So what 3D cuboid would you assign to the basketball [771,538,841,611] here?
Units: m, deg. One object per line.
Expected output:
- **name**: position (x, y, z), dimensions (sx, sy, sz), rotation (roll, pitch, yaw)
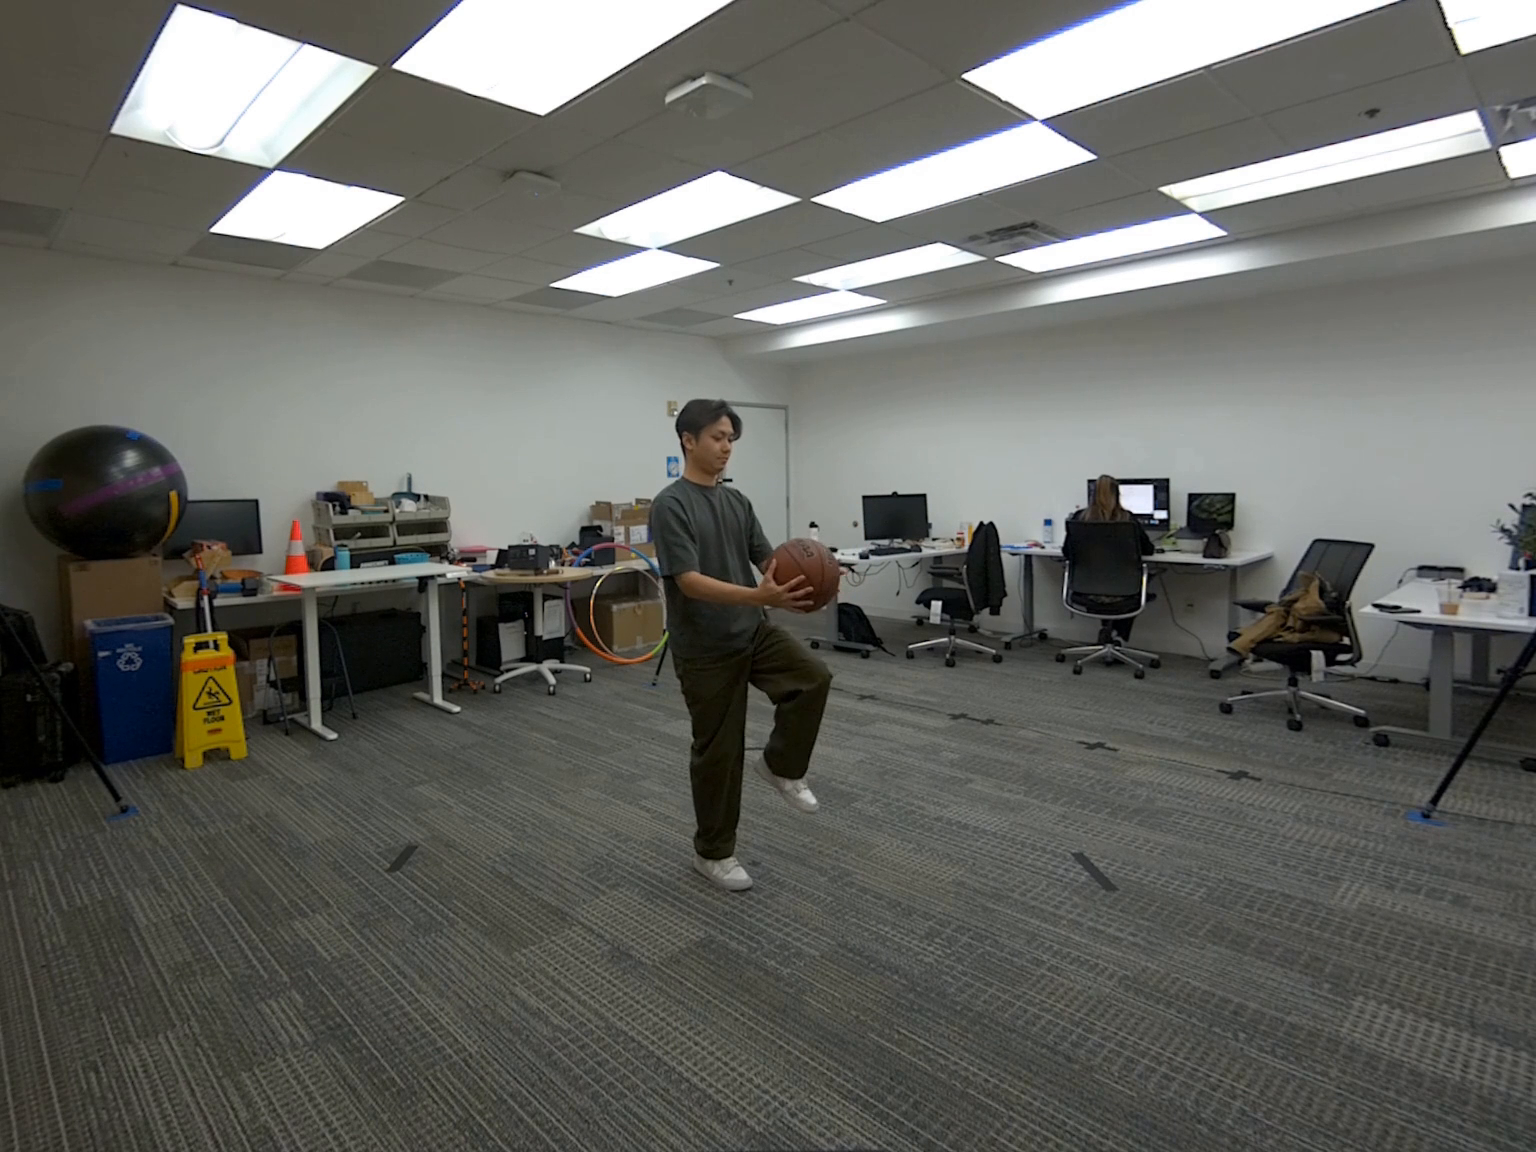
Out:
- **basketball**: position (0.112, -0.015, 2.707), dimensions (0.236, 0.235, 0.237), rotation (-1, 5, -2)
